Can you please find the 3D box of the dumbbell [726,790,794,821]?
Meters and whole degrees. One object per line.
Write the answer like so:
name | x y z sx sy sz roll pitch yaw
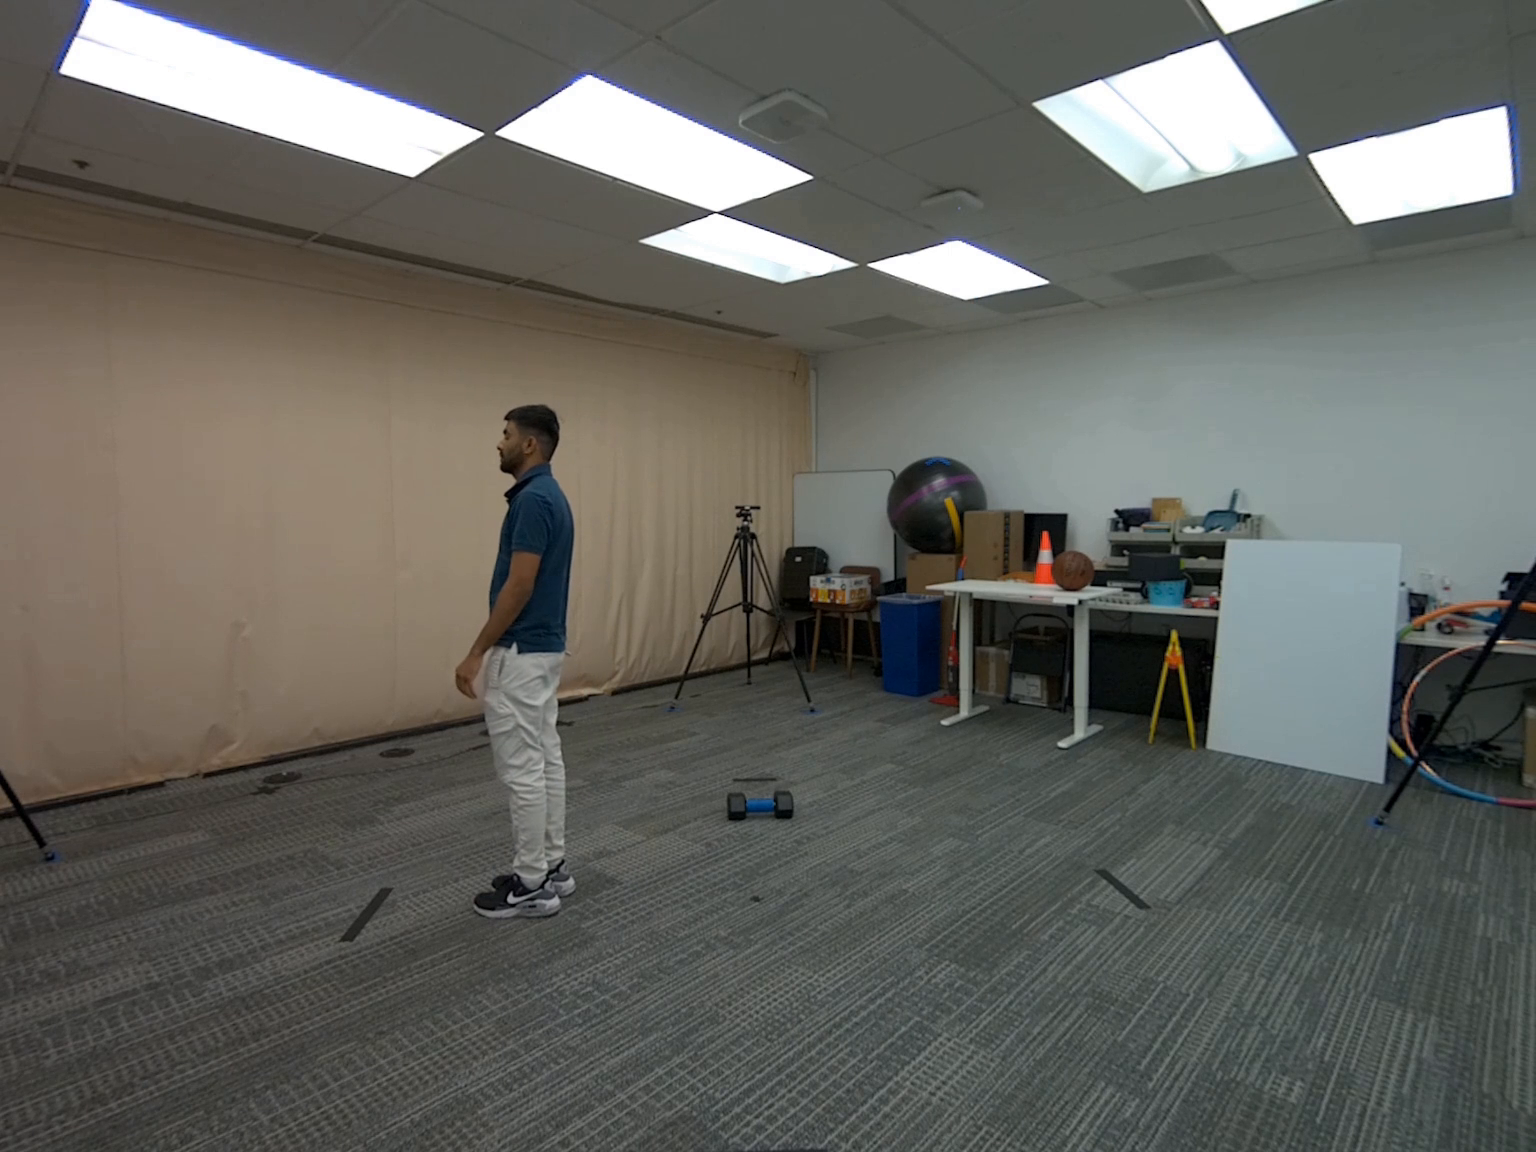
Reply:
dumbbell | -0.039 1.027 3.766 0.292 0.121 0.111 0 34 -5
